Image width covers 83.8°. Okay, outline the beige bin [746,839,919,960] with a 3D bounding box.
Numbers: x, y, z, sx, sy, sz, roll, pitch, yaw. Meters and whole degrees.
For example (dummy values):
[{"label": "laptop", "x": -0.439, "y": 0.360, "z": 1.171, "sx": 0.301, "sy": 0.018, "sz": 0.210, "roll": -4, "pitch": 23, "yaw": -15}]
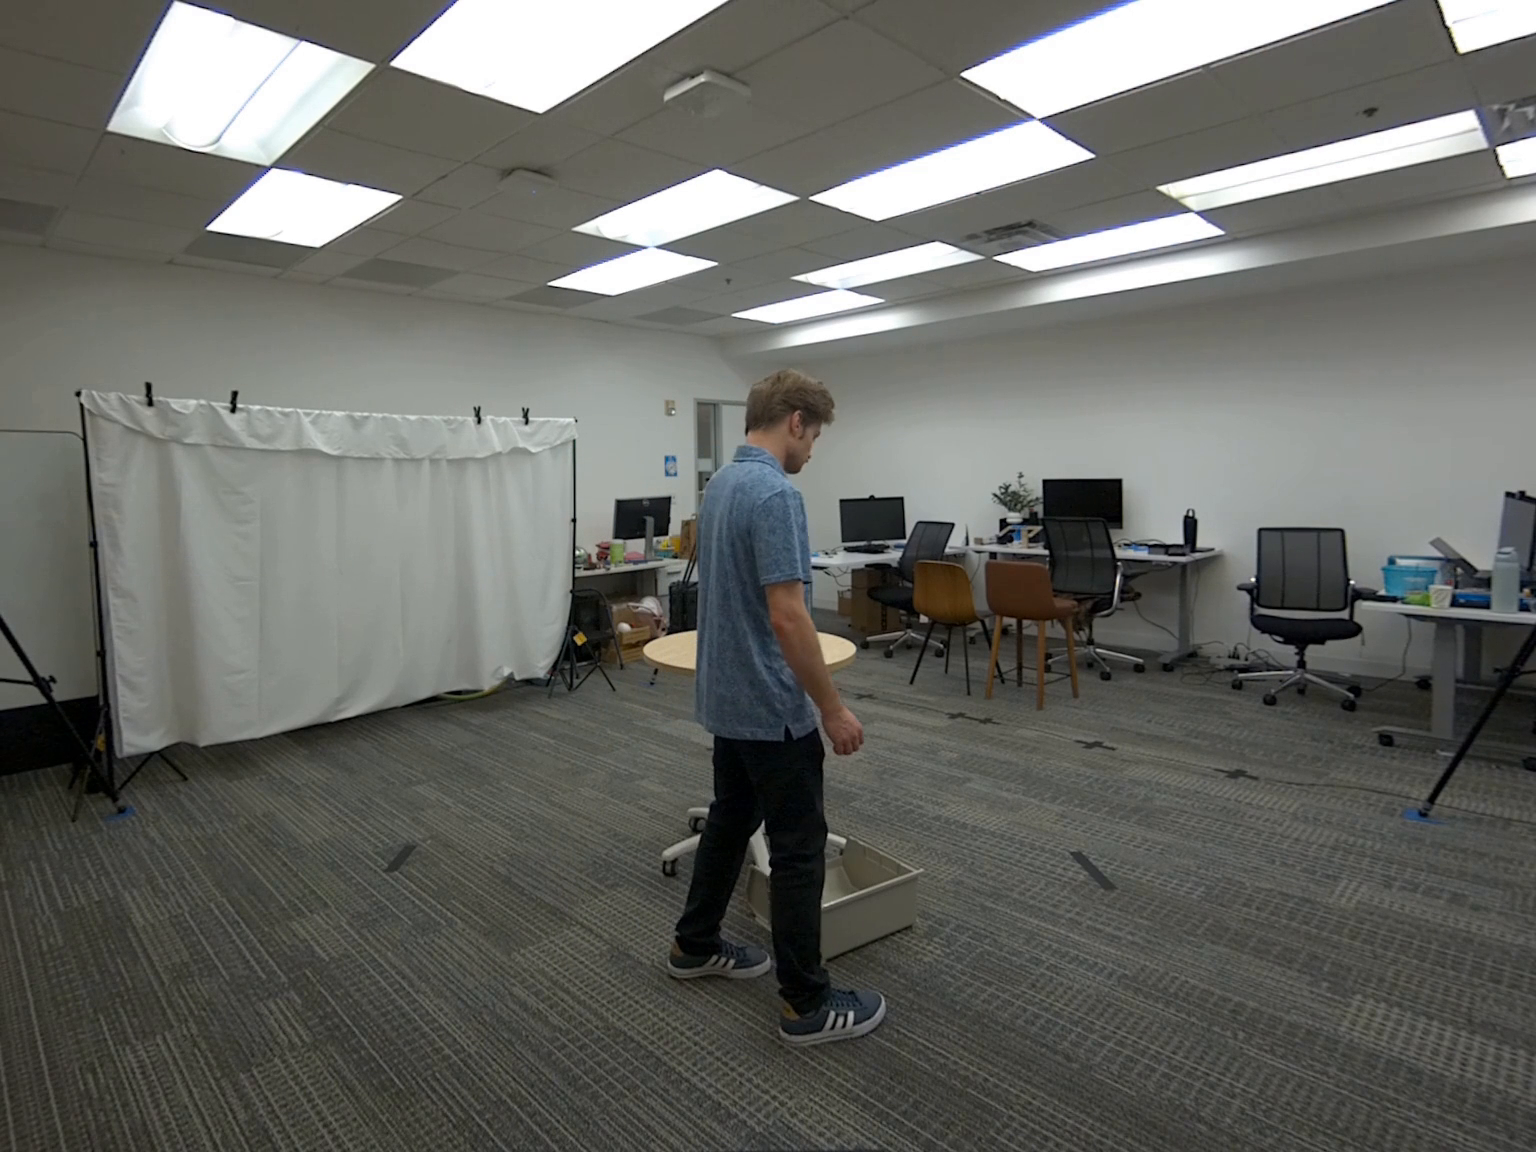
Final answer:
[{"label": "beige bin", "x": 0.209, "y": 1.001, "z": 2.685, "sx": 0.412, "sy": 0.188, "sz": 0.389, "roll": -5, "pitch": 8, "yaw": -34}]
